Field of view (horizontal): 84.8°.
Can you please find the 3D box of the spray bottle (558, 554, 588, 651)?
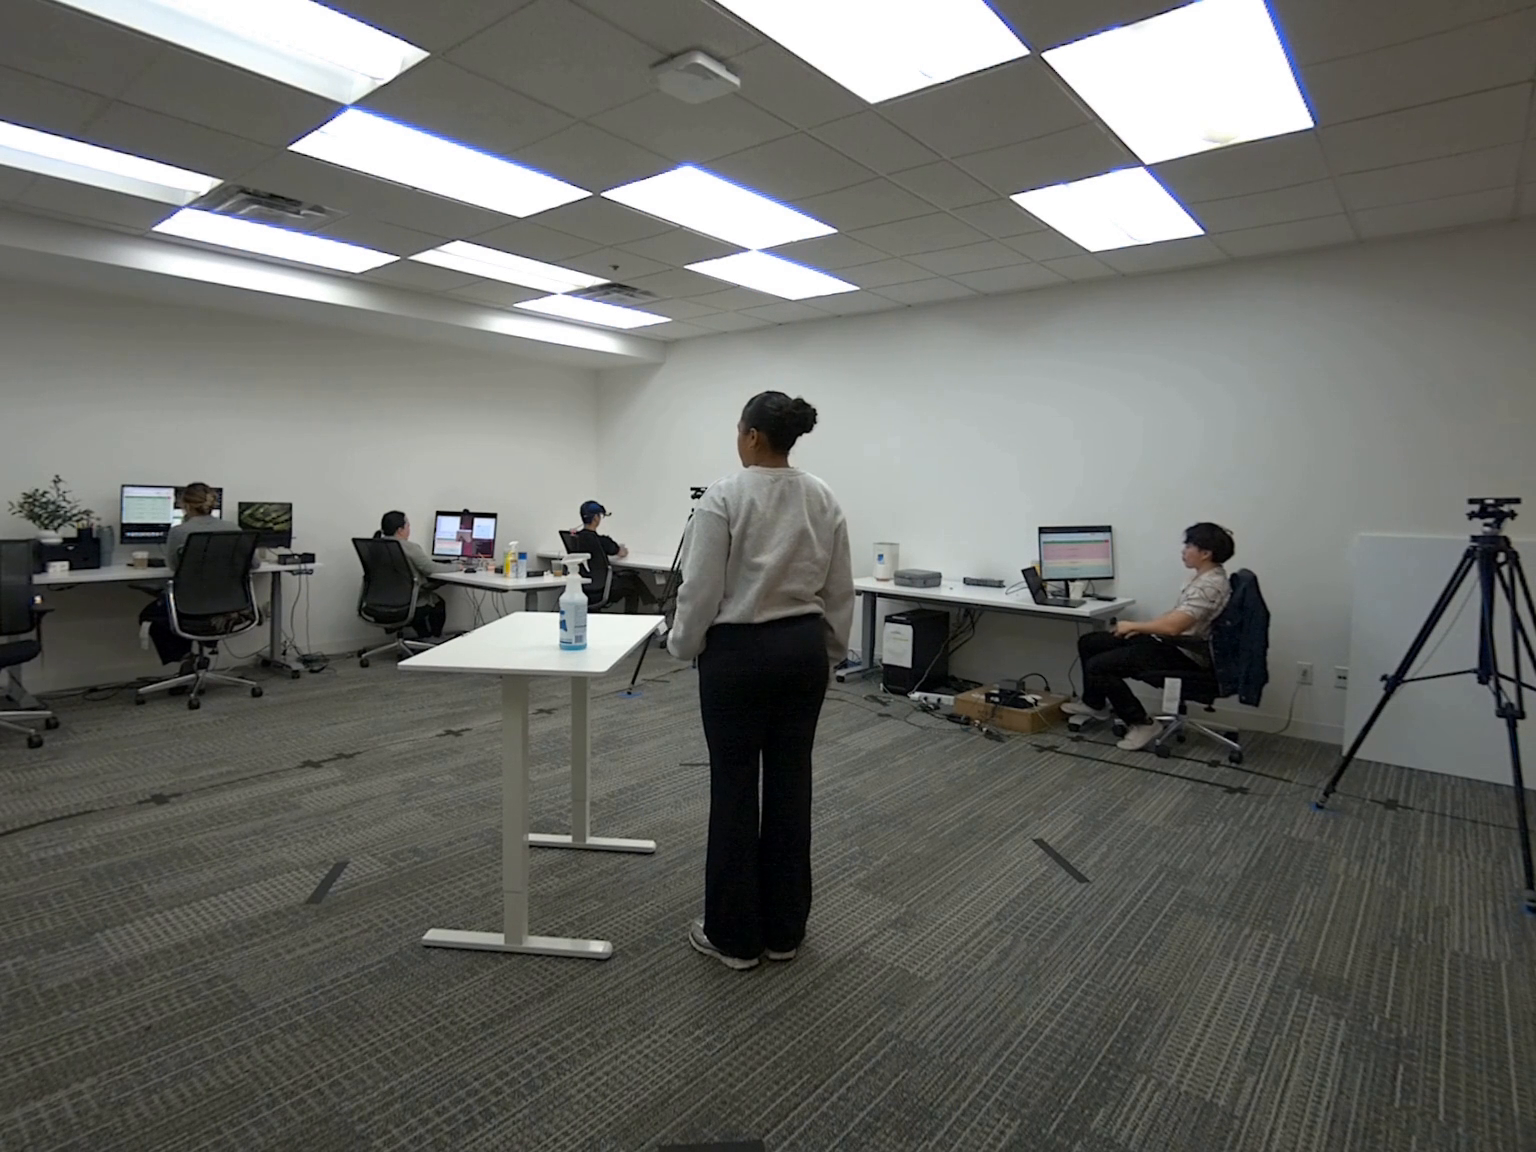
[{"bbox_3d":[-0.617,0.079,2.648,0.092,0.296,0.085,2,4,24],"label":"spray bottle"}]
